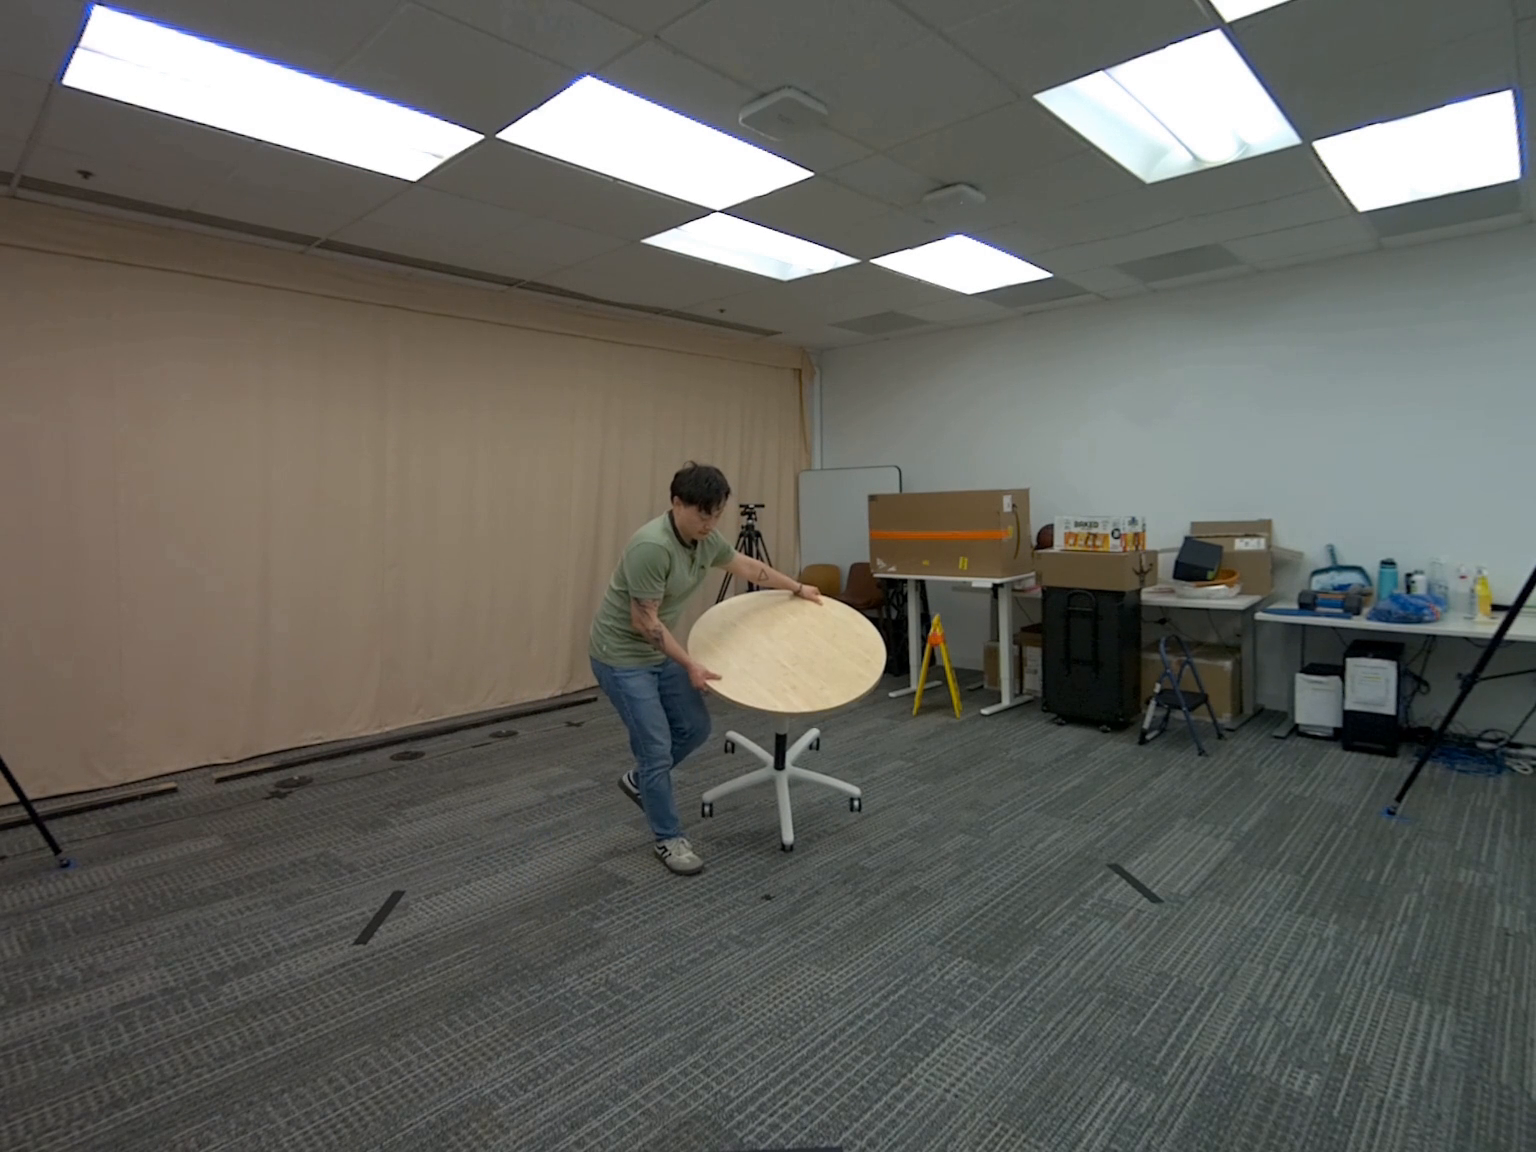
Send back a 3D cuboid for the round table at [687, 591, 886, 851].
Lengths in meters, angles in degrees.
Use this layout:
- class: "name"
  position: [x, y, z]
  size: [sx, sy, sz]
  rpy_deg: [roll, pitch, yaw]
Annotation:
- class: "round table"
  position: [0.060, 0.600, 3.464]
  size: [0.763, 0.781, 0.777]
  rpy_deg: [0, 31, -2]
